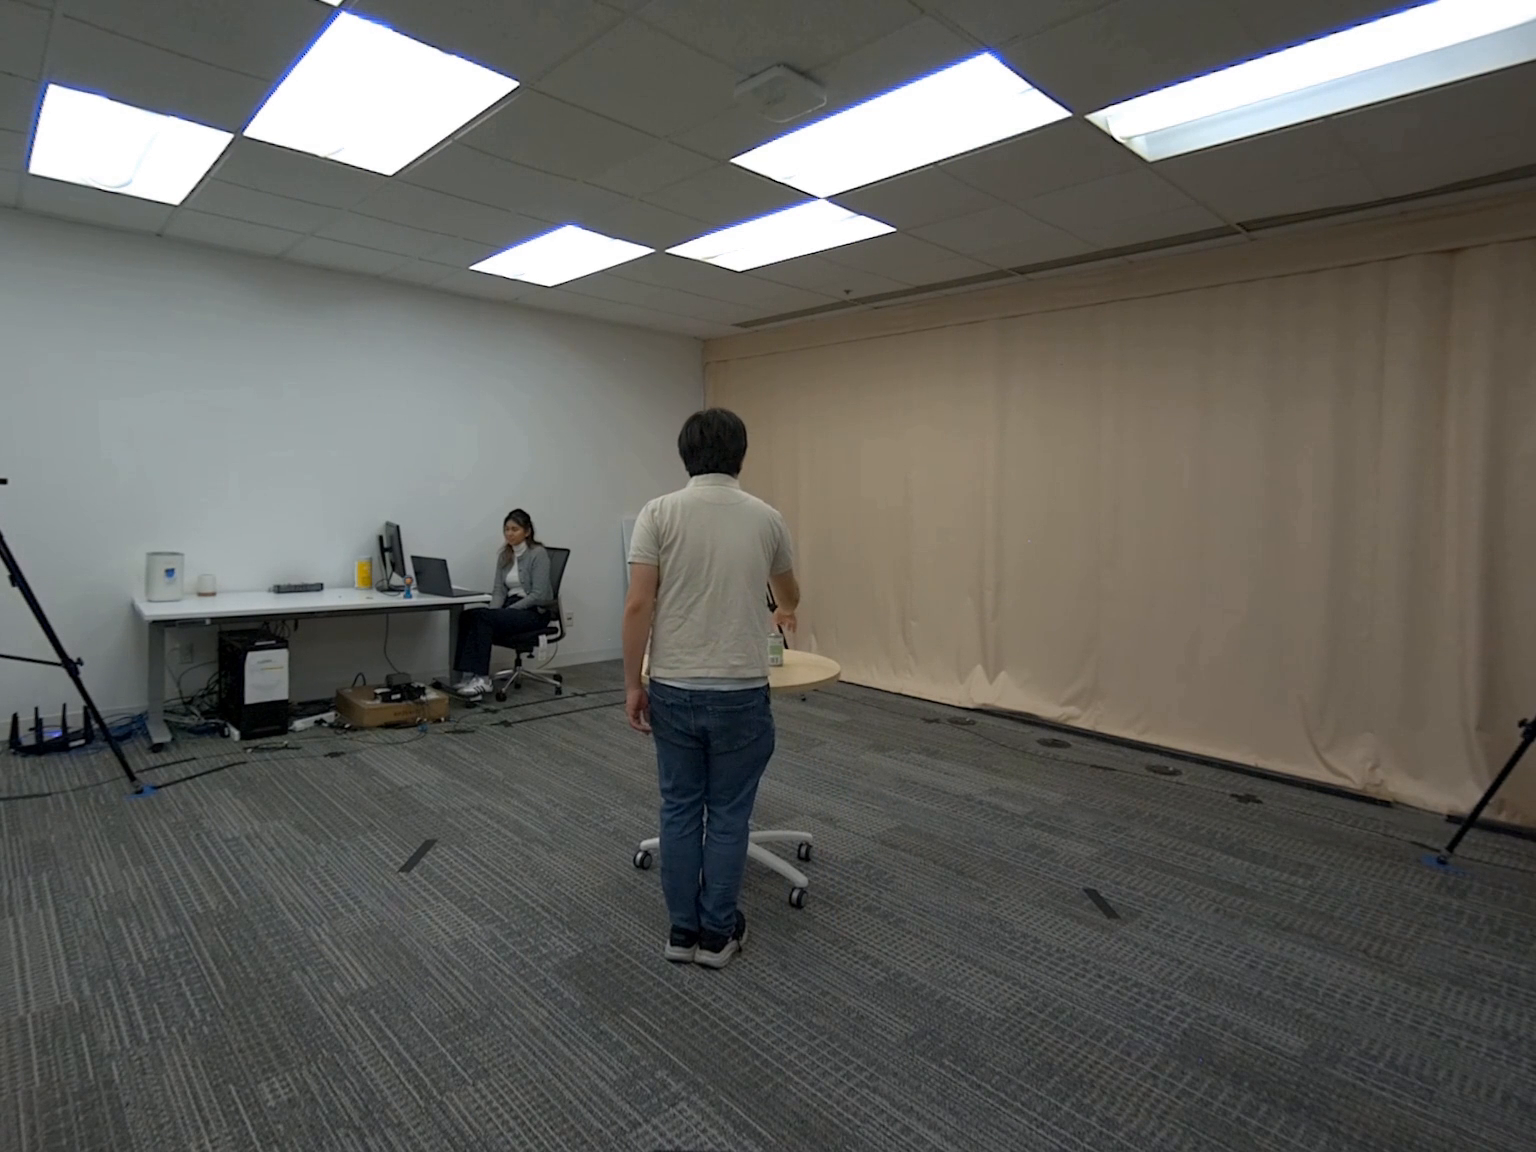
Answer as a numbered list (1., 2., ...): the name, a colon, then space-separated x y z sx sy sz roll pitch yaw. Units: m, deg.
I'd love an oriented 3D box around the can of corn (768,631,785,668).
1. can of corn: 0.018 0.276 3.091 0.074 0.111 0.074 4 5 -2
